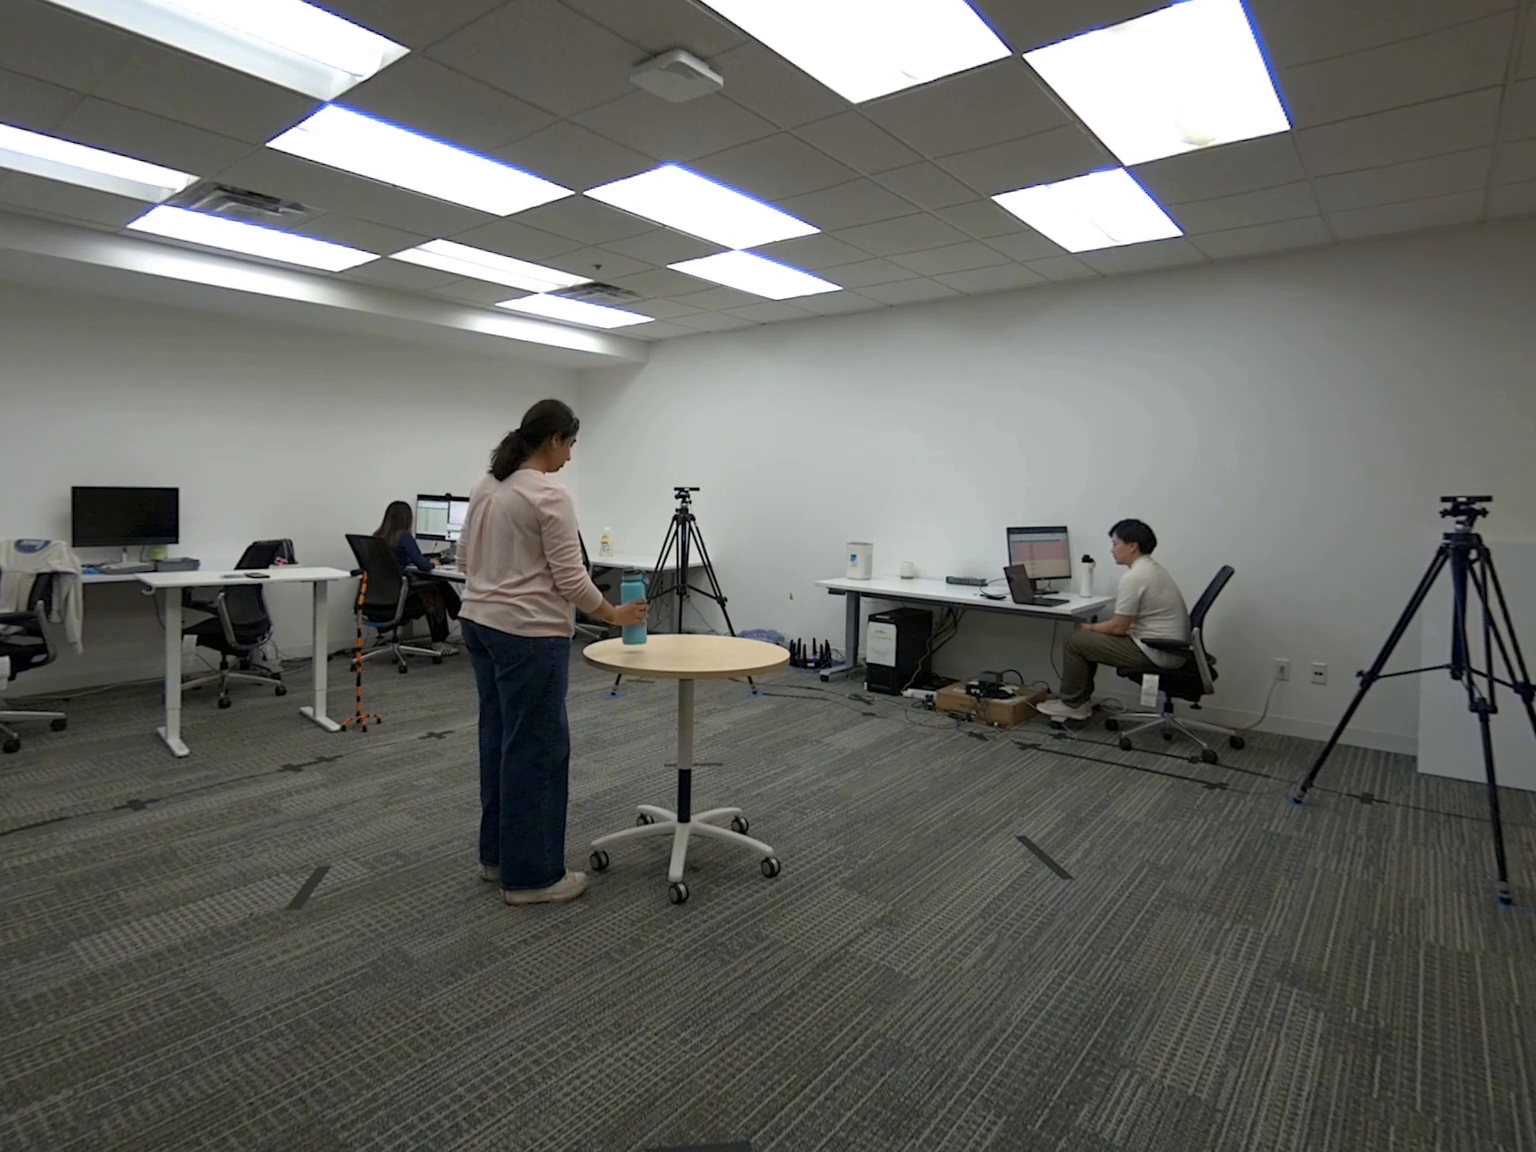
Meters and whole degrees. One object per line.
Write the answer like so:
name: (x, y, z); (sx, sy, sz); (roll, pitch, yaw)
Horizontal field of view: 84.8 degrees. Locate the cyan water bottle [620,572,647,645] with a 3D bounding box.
cyan water bottle: (-0.505, 0.105, 3.115); (0.092, 0.284, 0.092); (1, -1, -2)
